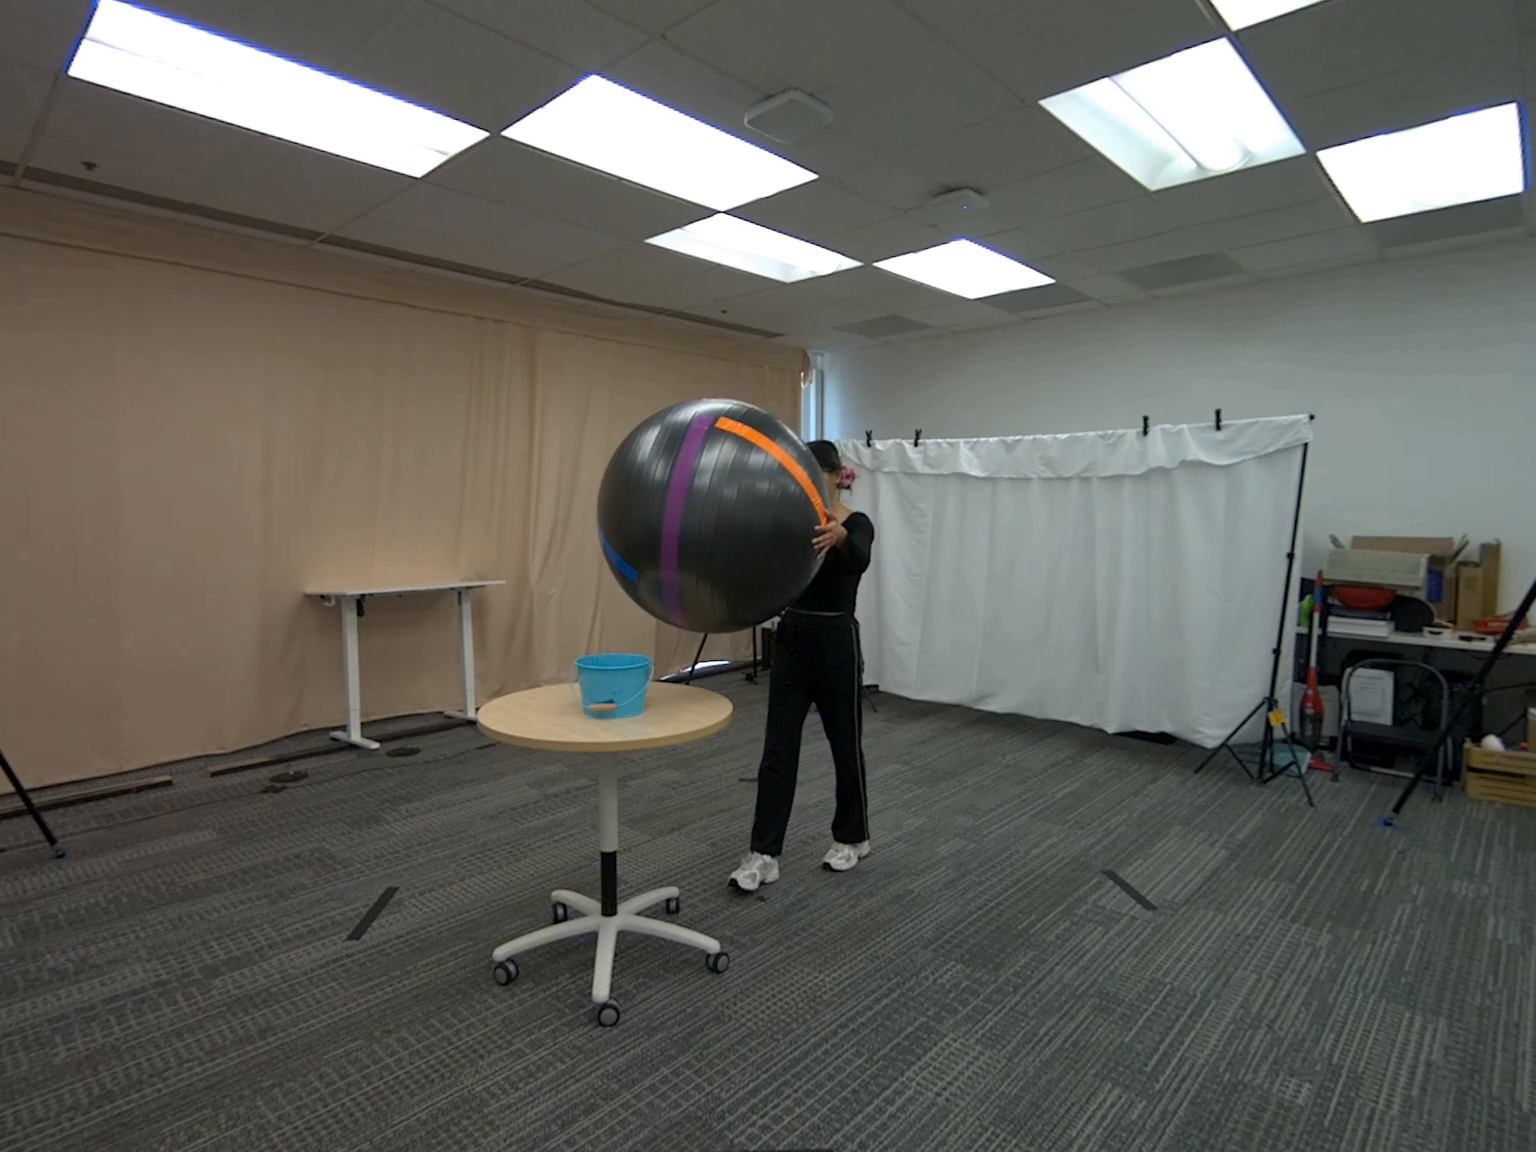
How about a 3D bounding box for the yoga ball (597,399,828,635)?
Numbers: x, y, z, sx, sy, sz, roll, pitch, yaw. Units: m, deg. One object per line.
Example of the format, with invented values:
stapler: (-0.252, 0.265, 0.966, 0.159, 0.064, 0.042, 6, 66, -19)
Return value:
yoga ball: (-0.179, -0.188, 2.732, 0.757, 0.756, 0.760, 0, 4, -2)
